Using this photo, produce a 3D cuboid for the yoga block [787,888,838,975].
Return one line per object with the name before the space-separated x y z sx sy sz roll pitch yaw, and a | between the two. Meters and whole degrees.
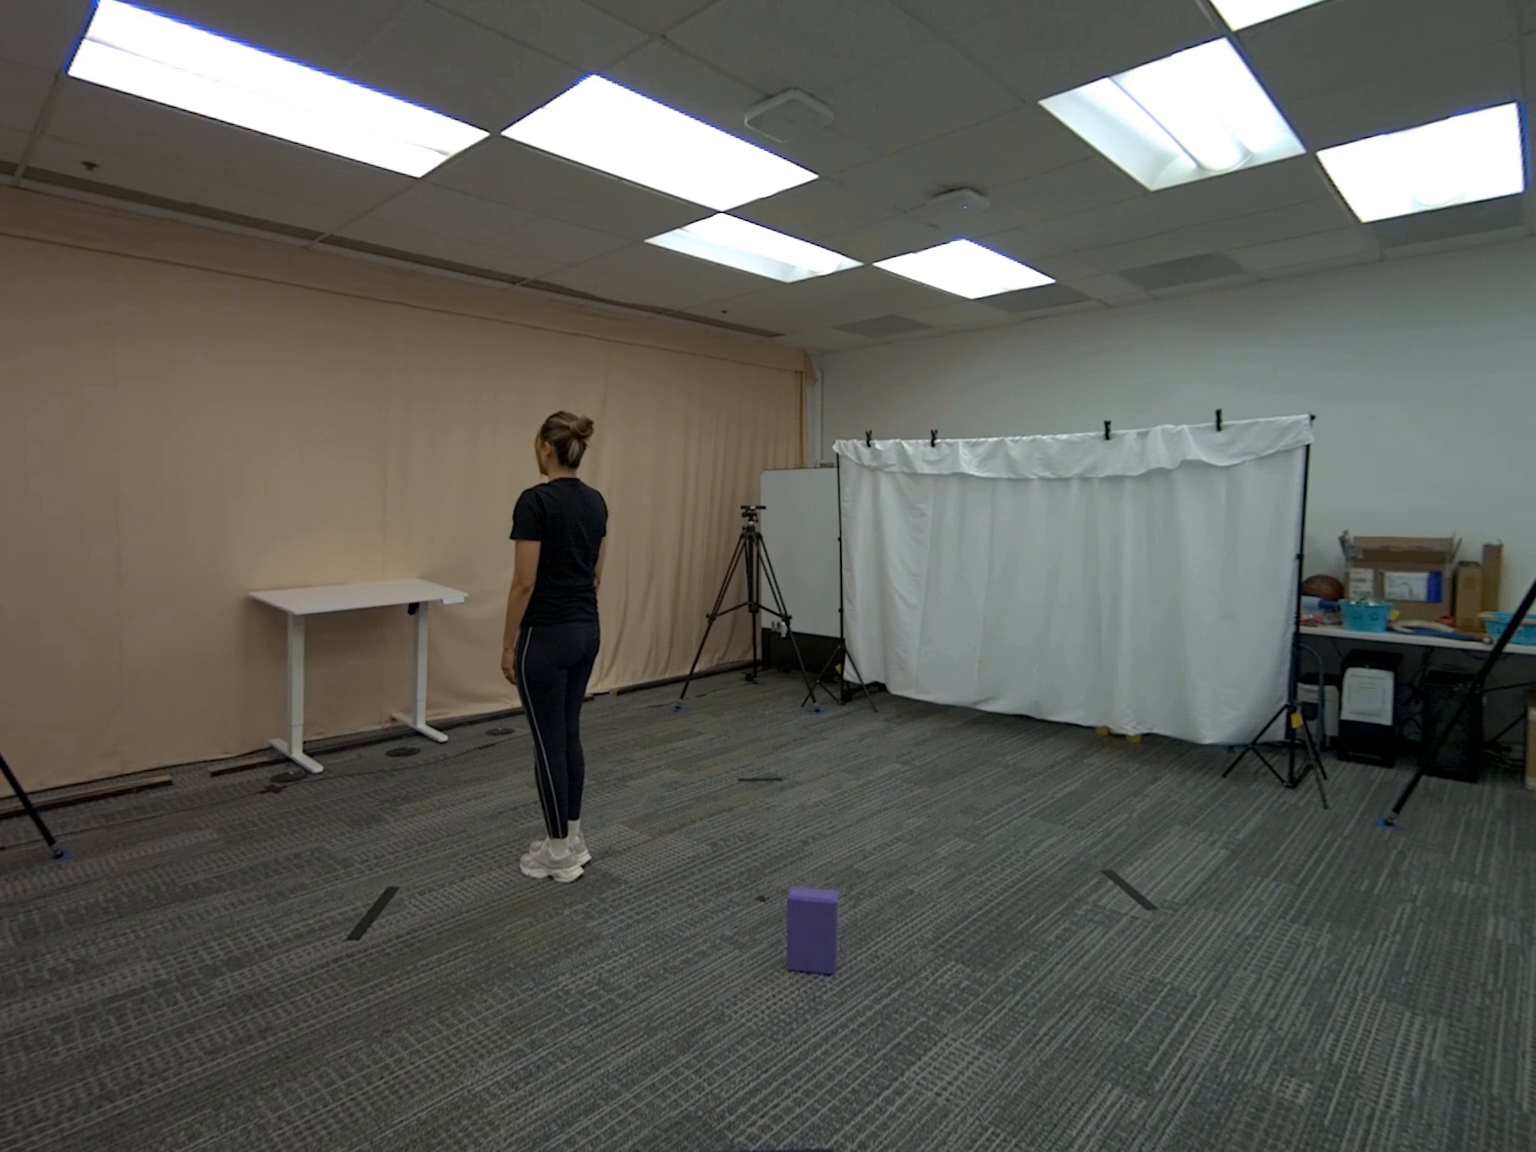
yoga block | 0.139 1.069 2.527 0.150 0.229 0.076 1 3 9
